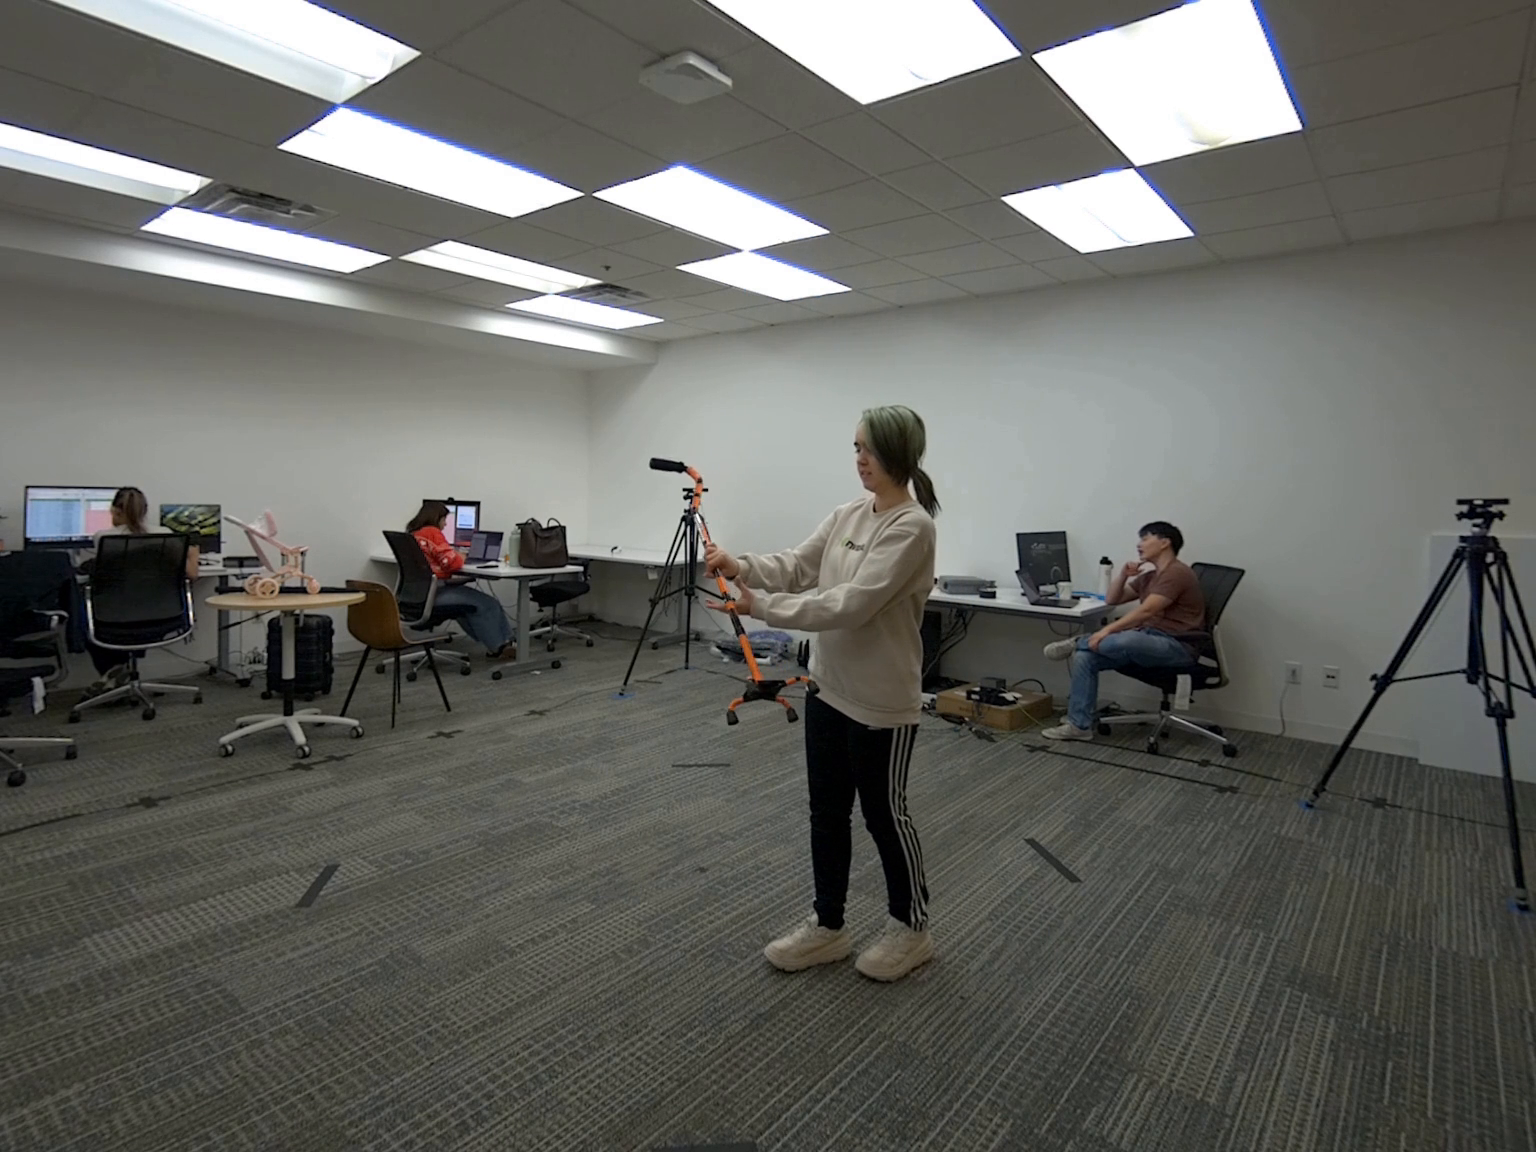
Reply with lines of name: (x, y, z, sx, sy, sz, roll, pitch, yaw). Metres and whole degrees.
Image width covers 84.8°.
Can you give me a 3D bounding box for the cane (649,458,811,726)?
cane: (-0.135, -0.014, 2.377, 0.200, 0.150, 0.943, 2, 46, -31)
